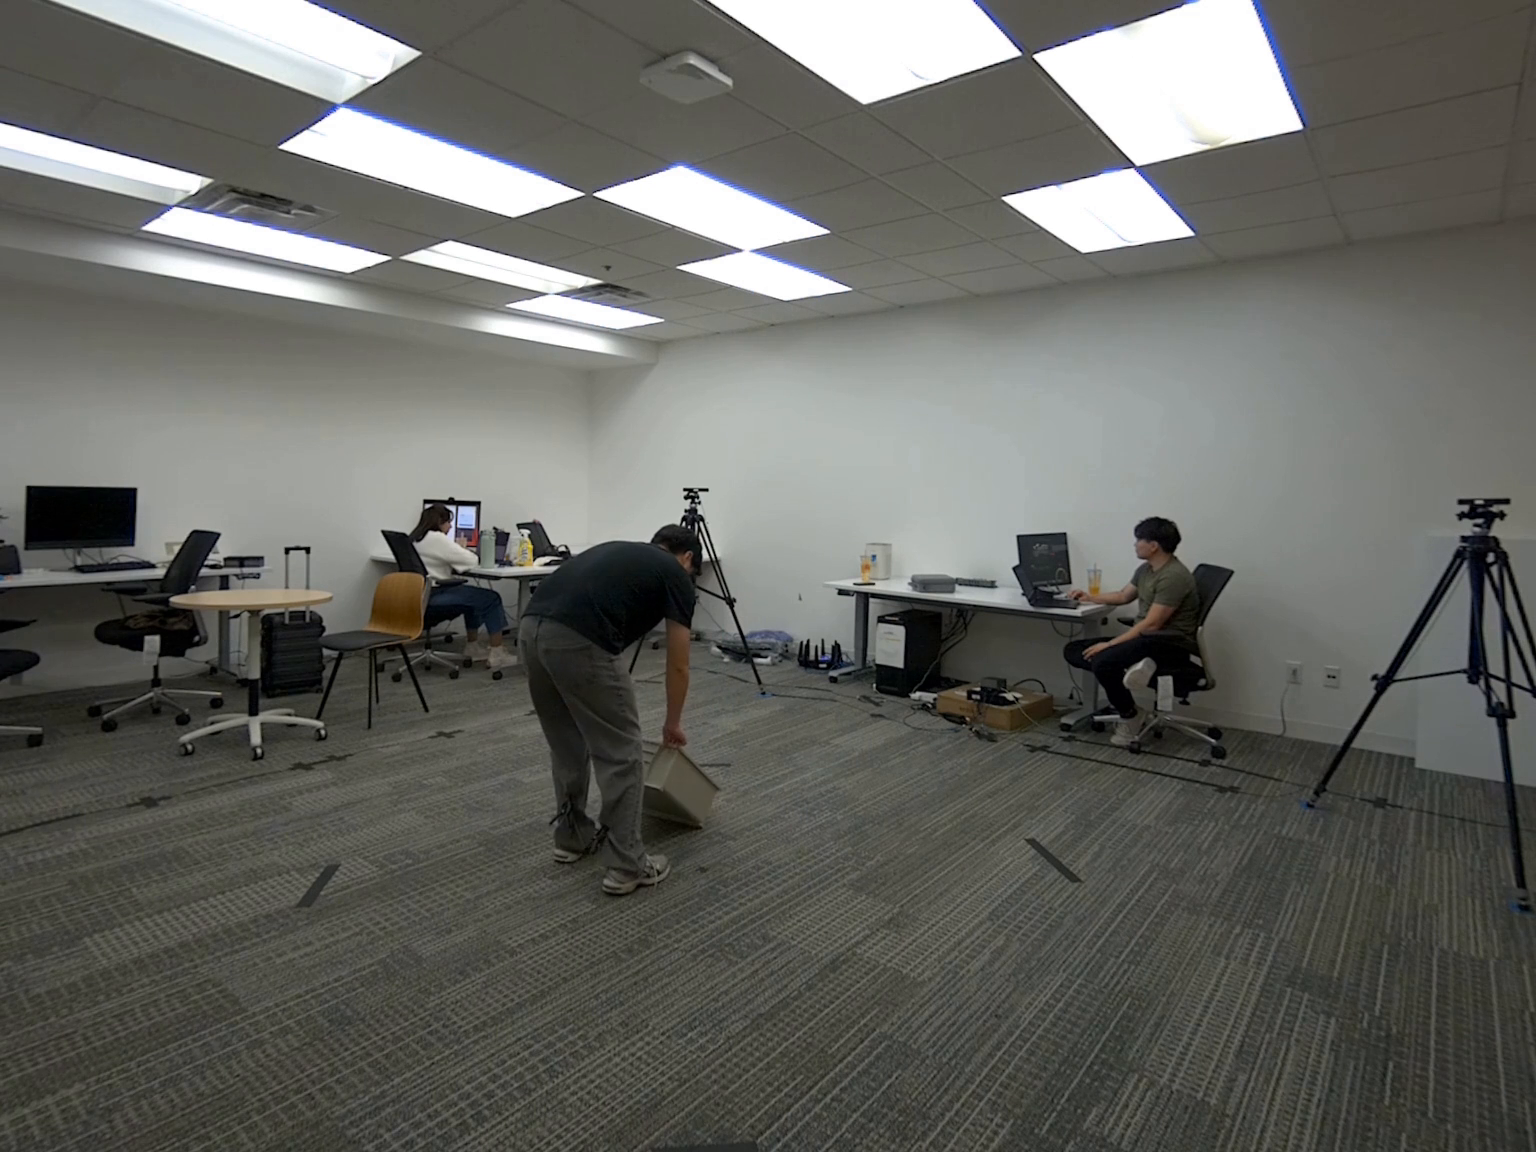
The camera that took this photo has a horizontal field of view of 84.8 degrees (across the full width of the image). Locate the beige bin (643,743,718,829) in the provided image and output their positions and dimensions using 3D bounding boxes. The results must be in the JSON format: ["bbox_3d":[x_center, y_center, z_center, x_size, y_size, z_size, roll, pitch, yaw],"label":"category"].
[{"bbox_3d":[-0.470,0.829,3.473,0.389,0.191,0.405,6,-34,32],"label":"beige bin"}]
